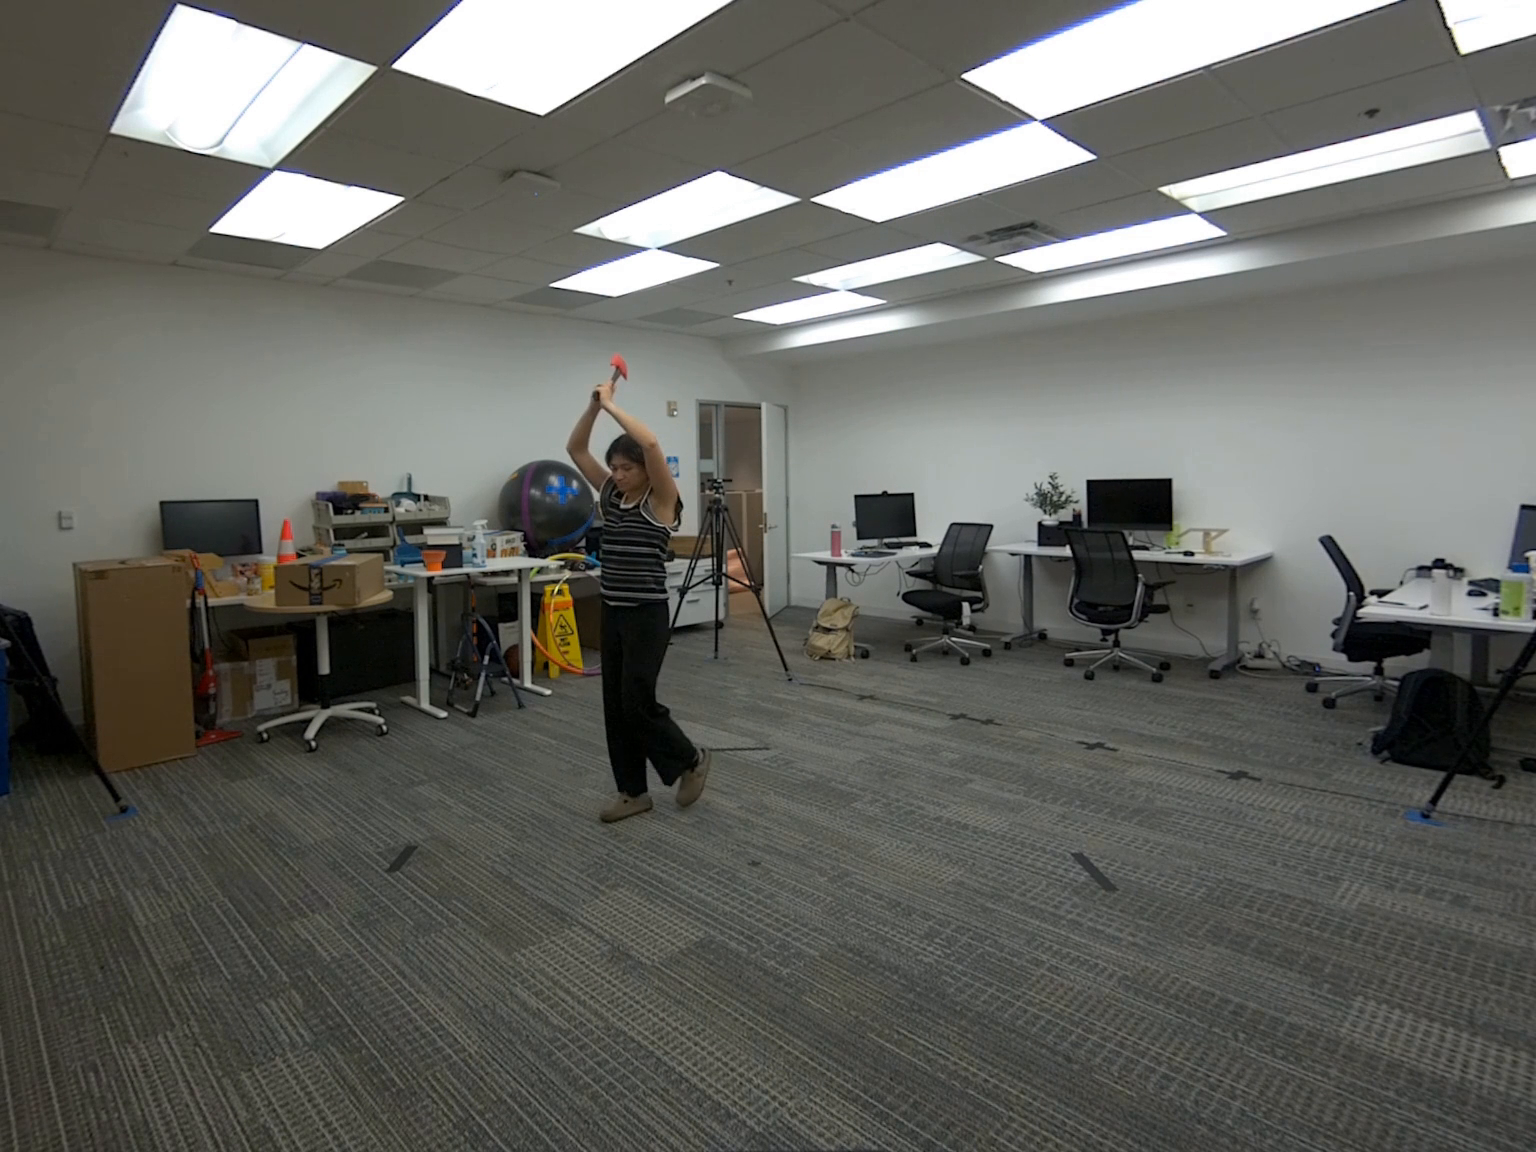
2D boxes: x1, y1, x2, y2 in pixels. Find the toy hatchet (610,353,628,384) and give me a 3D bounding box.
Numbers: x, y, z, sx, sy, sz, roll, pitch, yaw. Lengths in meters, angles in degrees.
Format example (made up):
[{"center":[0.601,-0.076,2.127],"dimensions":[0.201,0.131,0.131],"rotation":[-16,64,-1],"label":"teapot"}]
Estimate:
[{"center":[-0.627,-0.803,3.404],"dimensions":[0.030,0.128,0.272],"rotation":[3,31,15],"label":"toy hatchet"}]
